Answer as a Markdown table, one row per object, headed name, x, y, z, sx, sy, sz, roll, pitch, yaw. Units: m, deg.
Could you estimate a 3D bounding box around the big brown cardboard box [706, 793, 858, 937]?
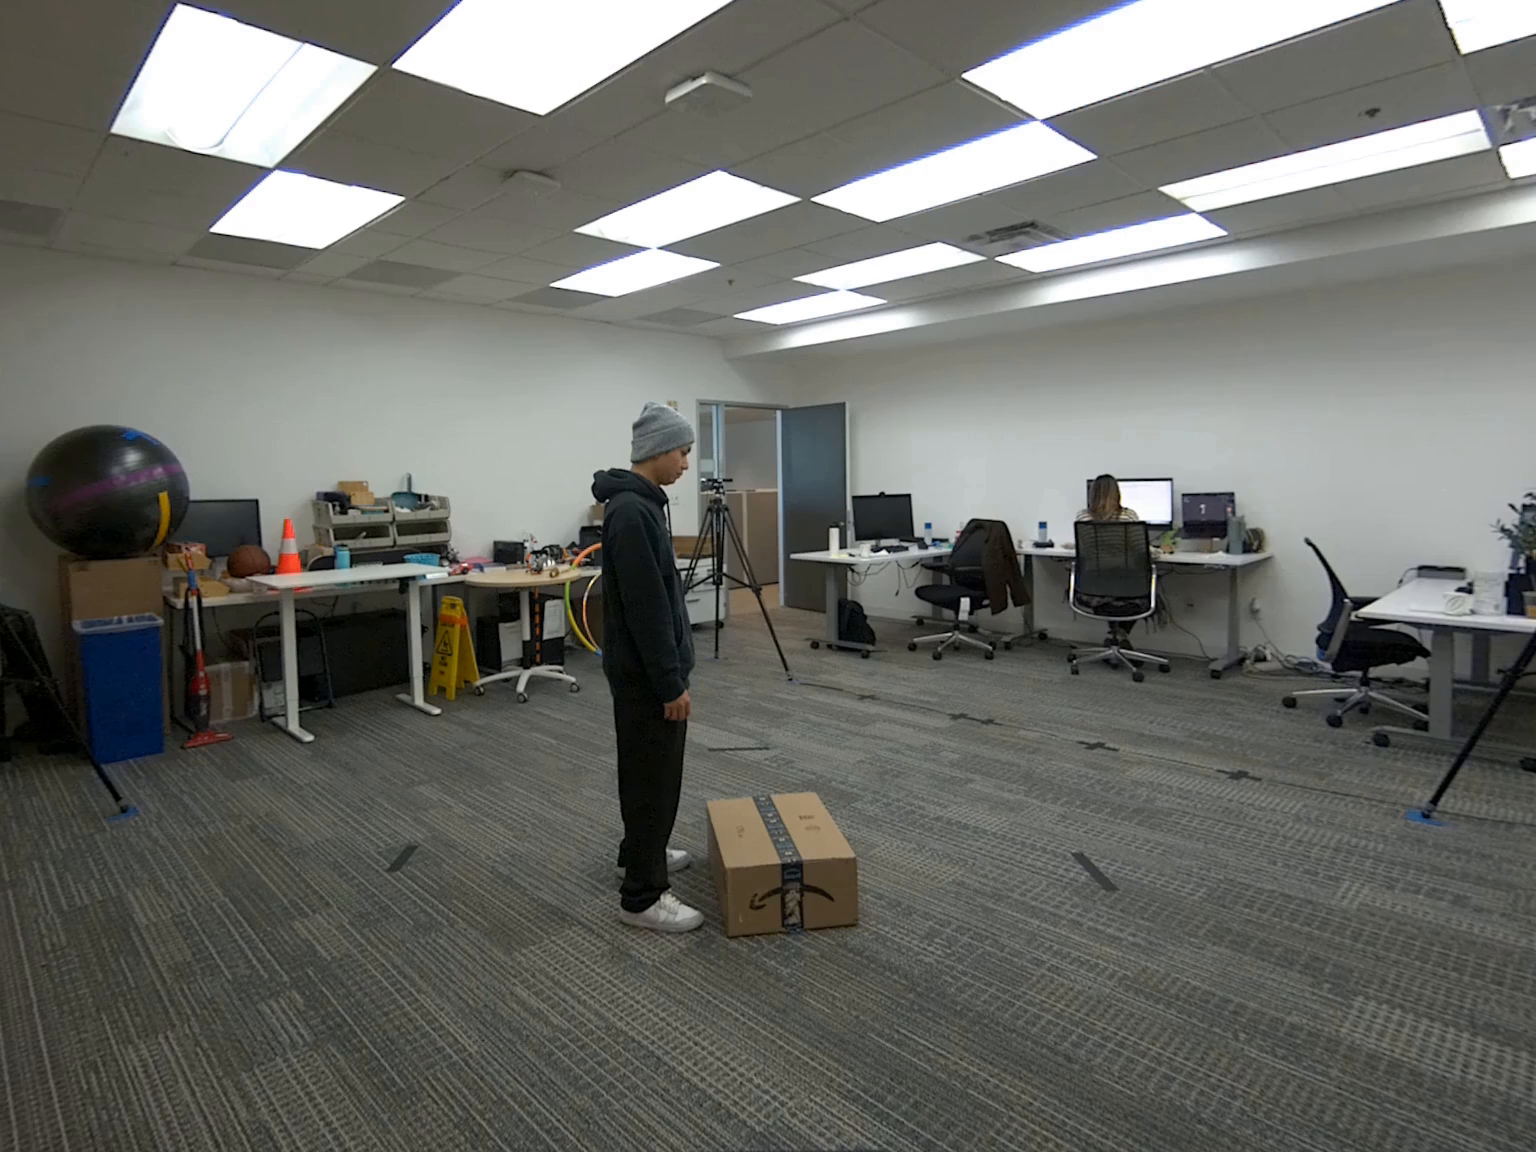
| name | x | y | z | sx | sy | sz | roll | pitch | yaw |
| --- | --- | --- | --- | --- | --- | --- | --- | --- | --- |
| big brown cardboard box | 0.030 | 0.956 | 2.898 | 0.414 | 0.232 | 0.597 | -3 | 7 | -9 |
